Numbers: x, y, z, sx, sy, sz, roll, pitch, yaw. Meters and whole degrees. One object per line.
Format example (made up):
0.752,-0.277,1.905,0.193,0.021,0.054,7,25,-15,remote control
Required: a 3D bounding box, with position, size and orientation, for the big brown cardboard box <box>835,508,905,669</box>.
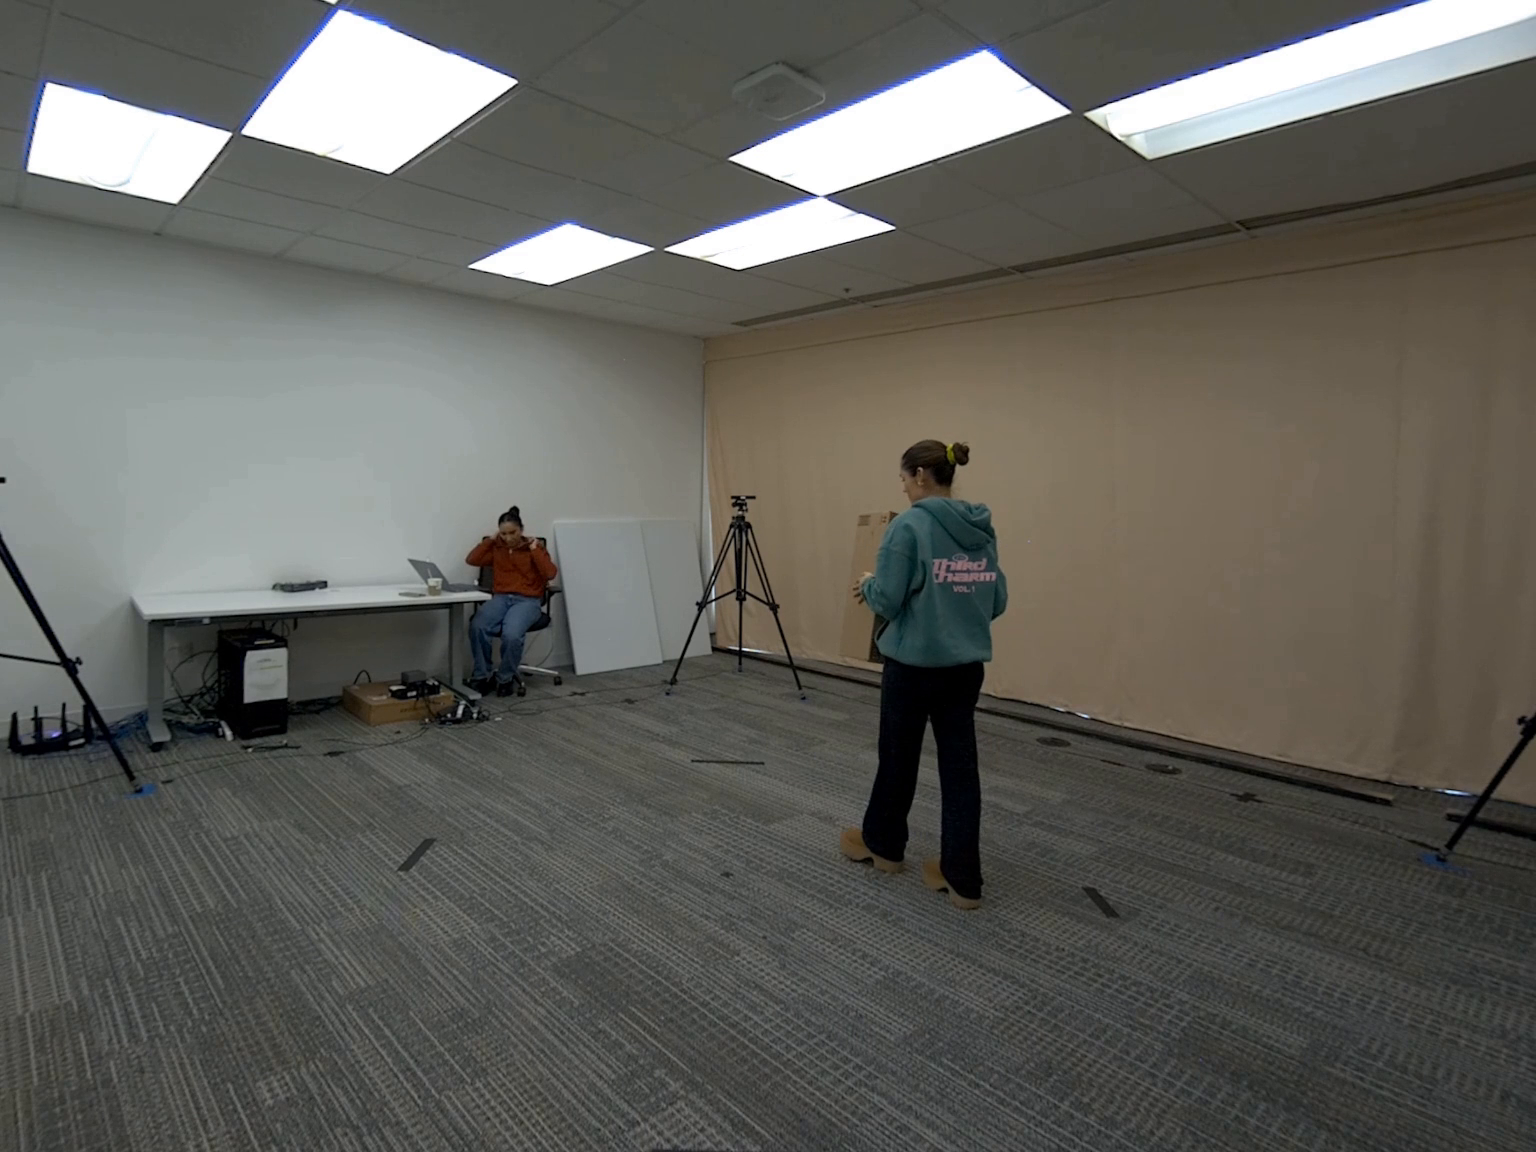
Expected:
0.542,0.068,3.294,0.409,0.590,0.237,11,-5,-24,big brown cardboard box
